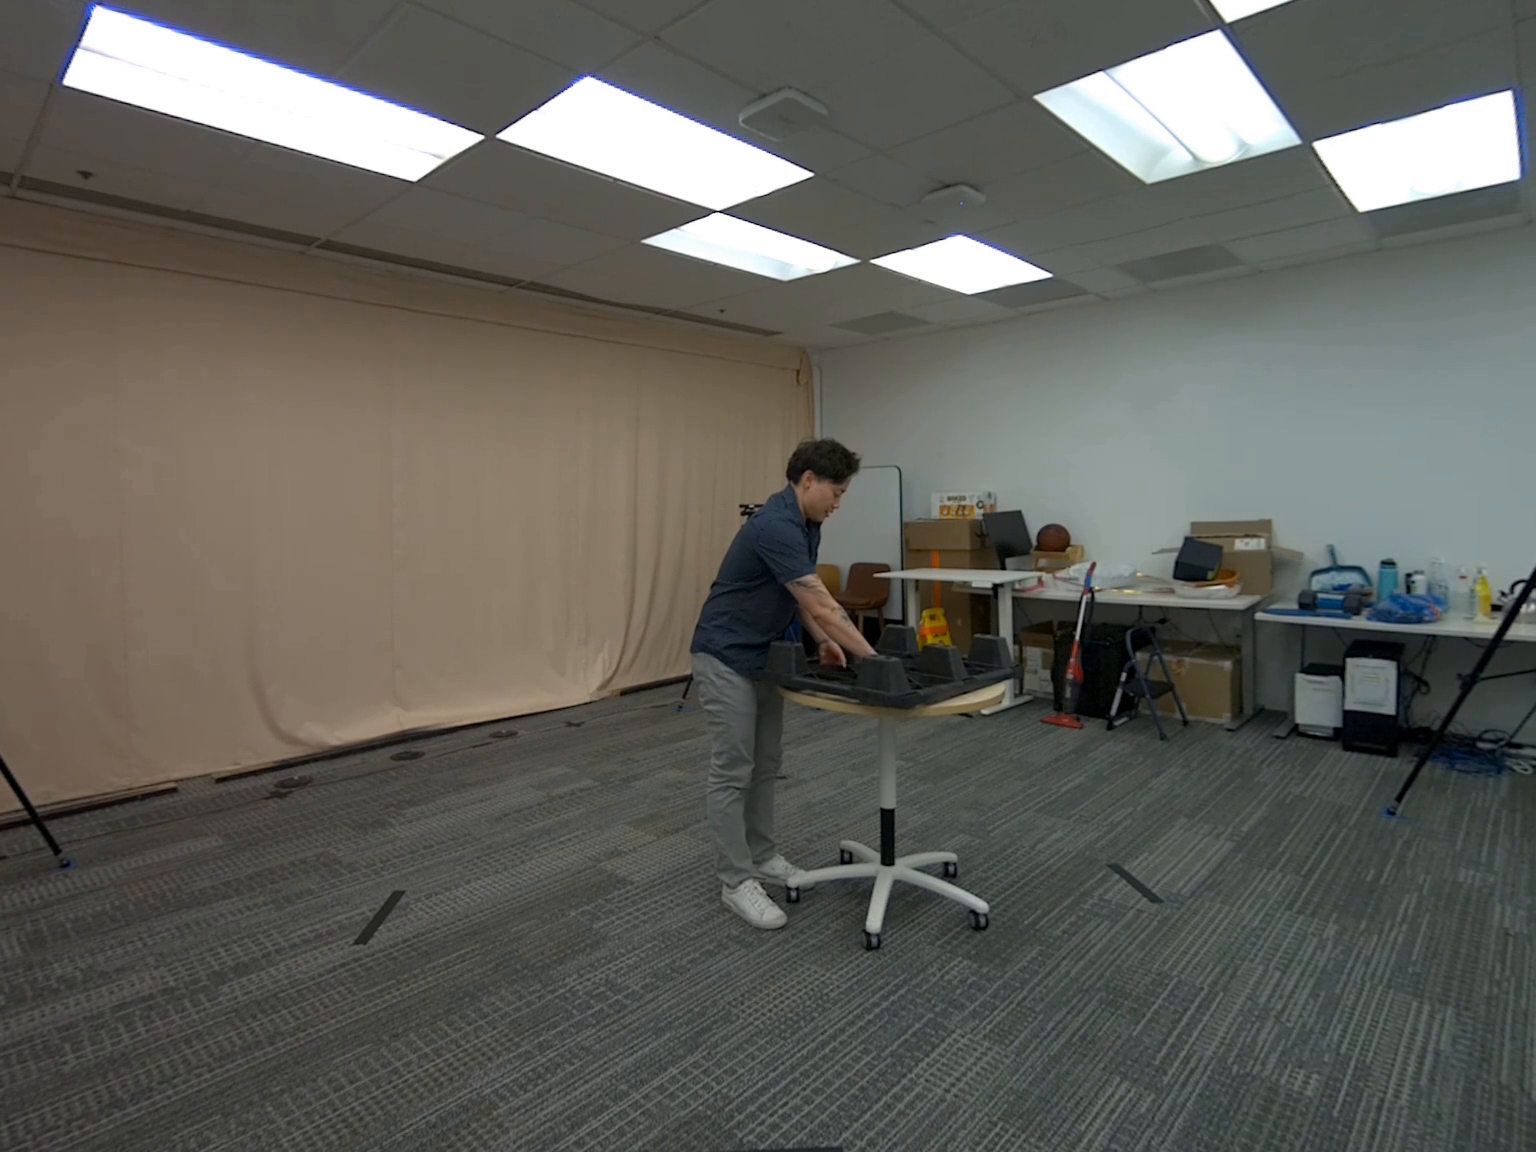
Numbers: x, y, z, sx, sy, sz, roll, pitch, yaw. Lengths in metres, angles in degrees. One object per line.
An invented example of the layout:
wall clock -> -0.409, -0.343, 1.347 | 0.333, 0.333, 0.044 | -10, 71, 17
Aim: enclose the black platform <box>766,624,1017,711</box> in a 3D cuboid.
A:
black platform -> 0.429, 0.294, 2.874 | 0.625, 0.143, 0.781 | 4, 5, 42
